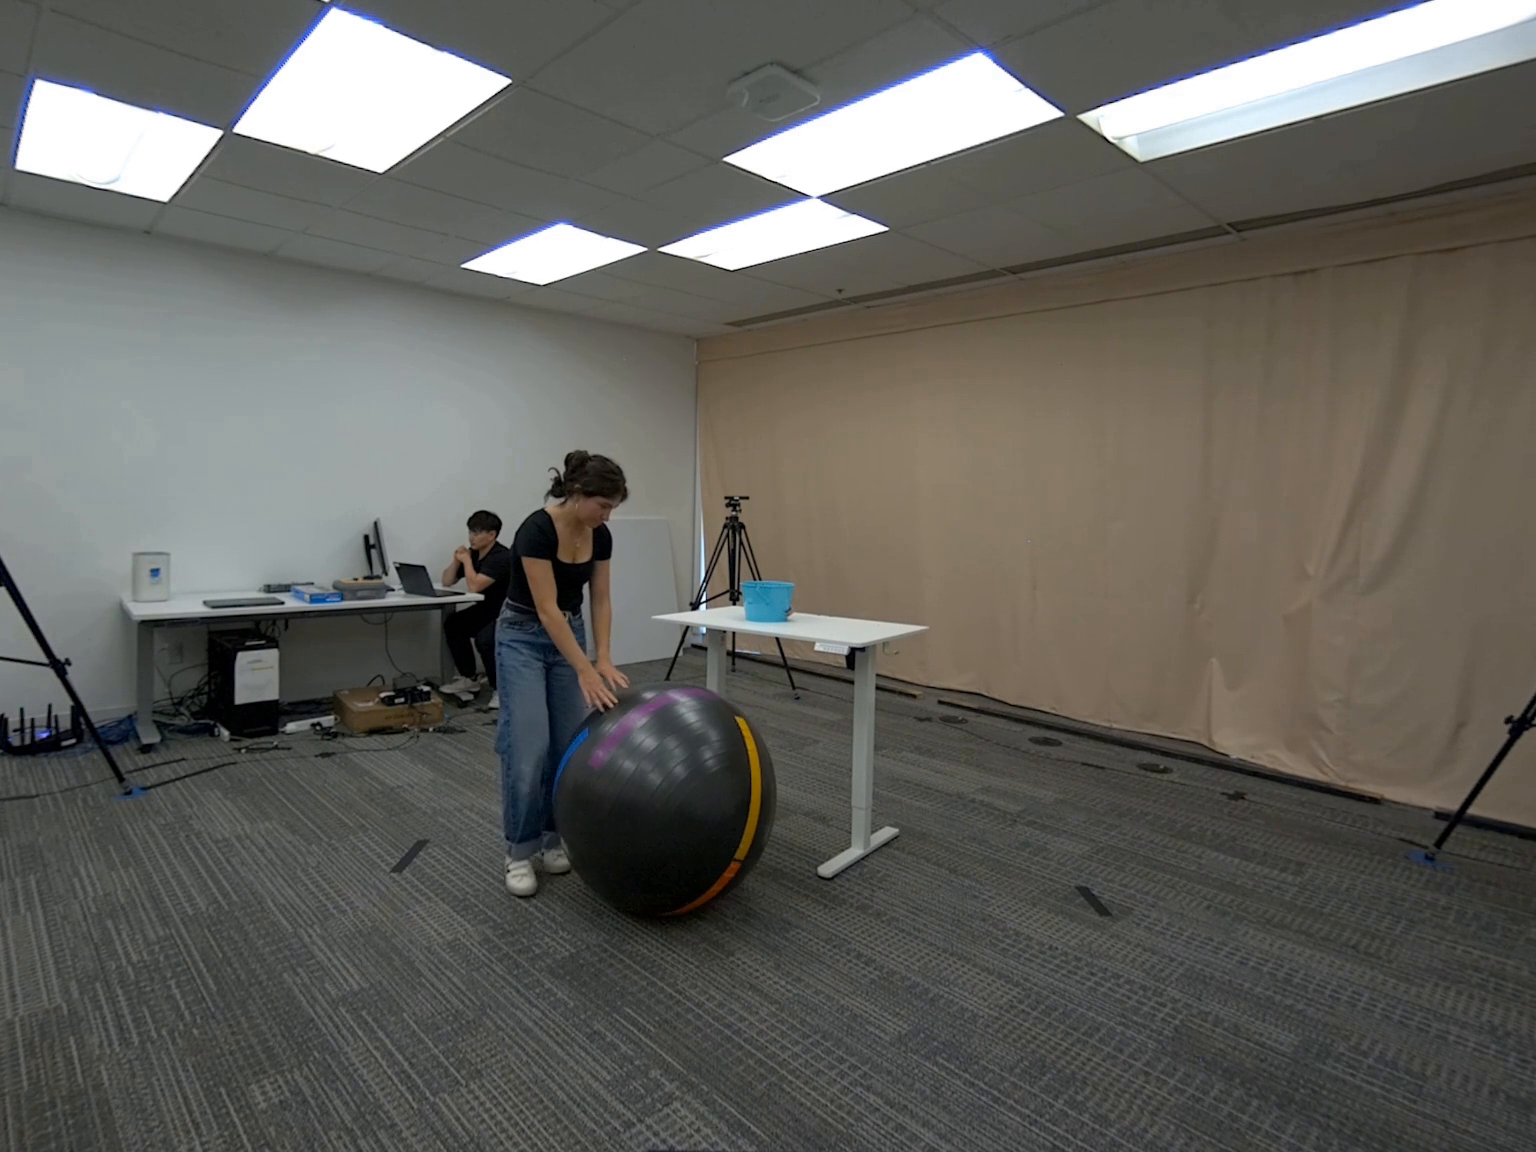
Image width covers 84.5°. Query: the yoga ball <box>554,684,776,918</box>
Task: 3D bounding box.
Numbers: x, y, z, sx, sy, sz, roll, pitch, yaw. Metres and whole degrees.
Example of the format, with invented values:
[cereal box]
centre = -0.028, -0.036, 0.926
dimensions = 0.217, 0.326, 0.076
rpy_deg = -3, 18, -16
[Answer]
[yoga ball]
centre = -0.352, 0.758, 2.872
dimensions = 0.757, 0.756, 0.761
rpy_deg = 1, 4, -1
